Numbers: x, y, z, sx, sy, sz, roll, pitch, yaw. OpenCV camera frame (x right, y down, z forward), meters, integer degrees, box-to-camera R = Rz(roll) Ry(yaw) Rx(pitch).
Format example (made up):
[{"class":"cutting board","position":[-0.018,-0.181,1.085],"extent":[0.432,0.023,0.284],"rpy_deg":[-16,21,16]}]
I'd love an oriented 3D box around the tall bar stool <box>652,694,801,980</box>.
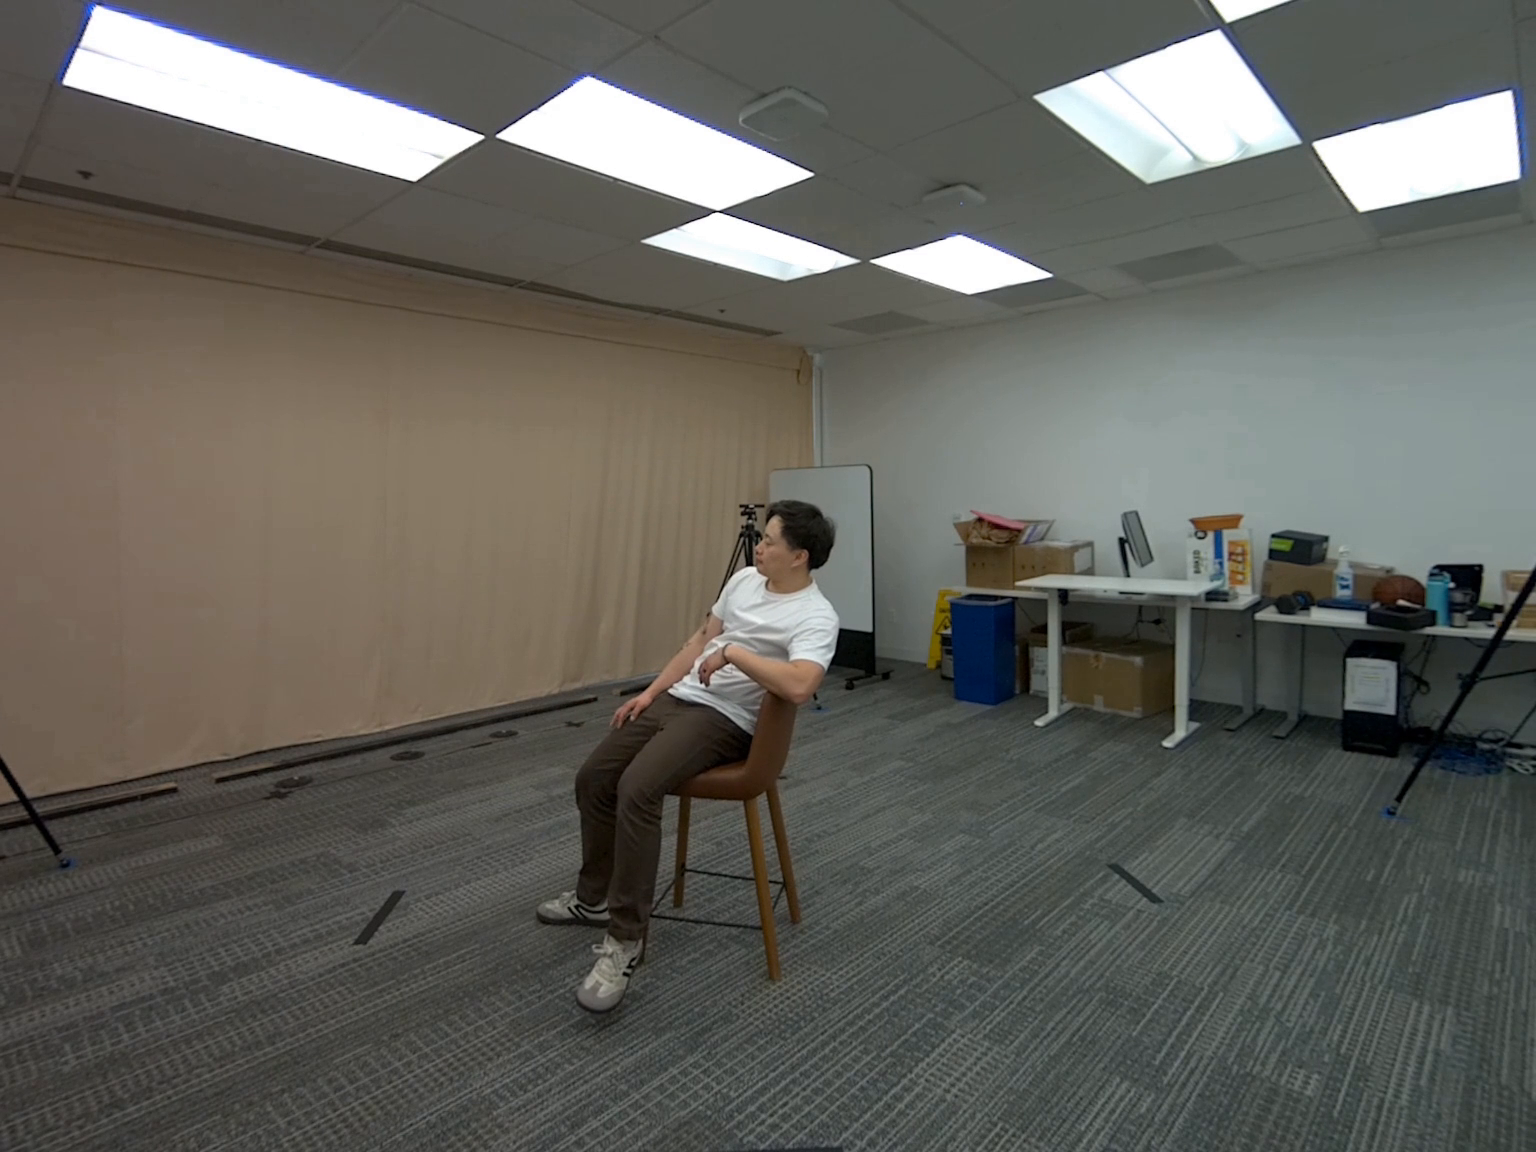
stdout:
[{"class":"tall bar stool","position":[-0.150,0.743,2.668],"extent":[0.476,0.887,0.450],"rpy_deg":[1,5,15]}]
